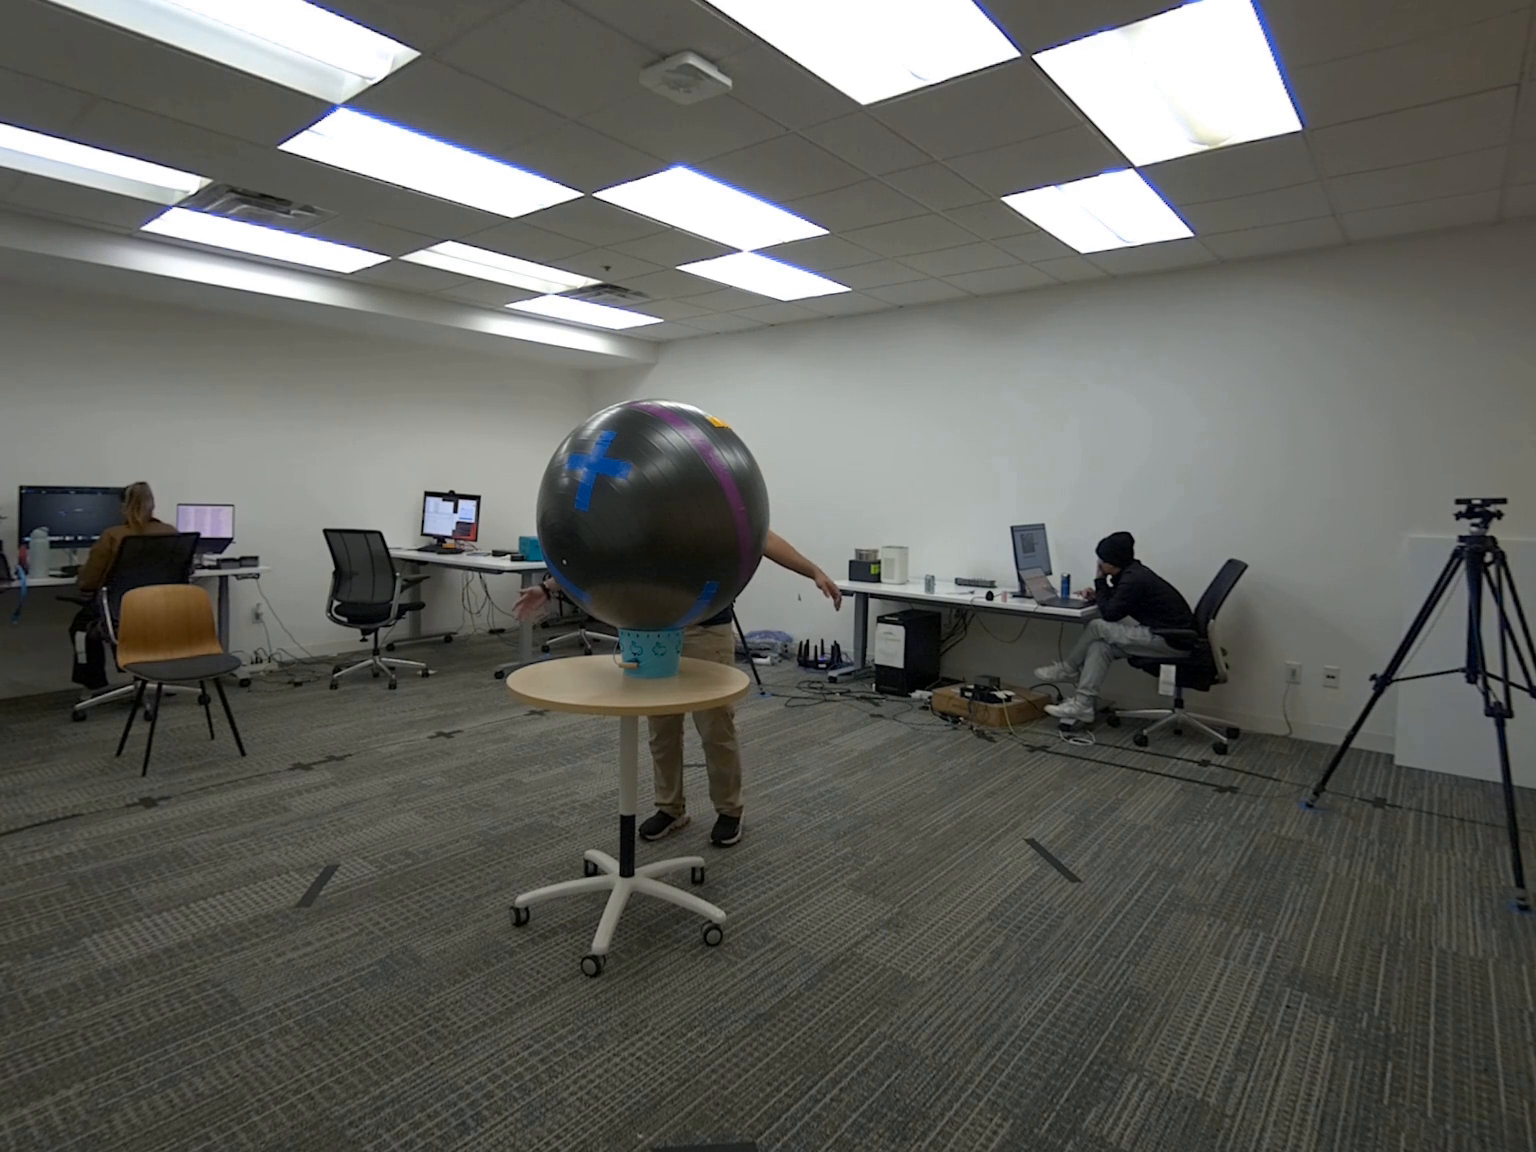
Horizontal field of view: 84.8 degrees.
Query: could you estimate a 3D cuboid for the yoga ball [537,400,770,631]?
[{"bbox_3d":[-0.382,-0.196,2.777,0.757,0.755,0.762,1,4,-2],"label":"yoga ball"}]
